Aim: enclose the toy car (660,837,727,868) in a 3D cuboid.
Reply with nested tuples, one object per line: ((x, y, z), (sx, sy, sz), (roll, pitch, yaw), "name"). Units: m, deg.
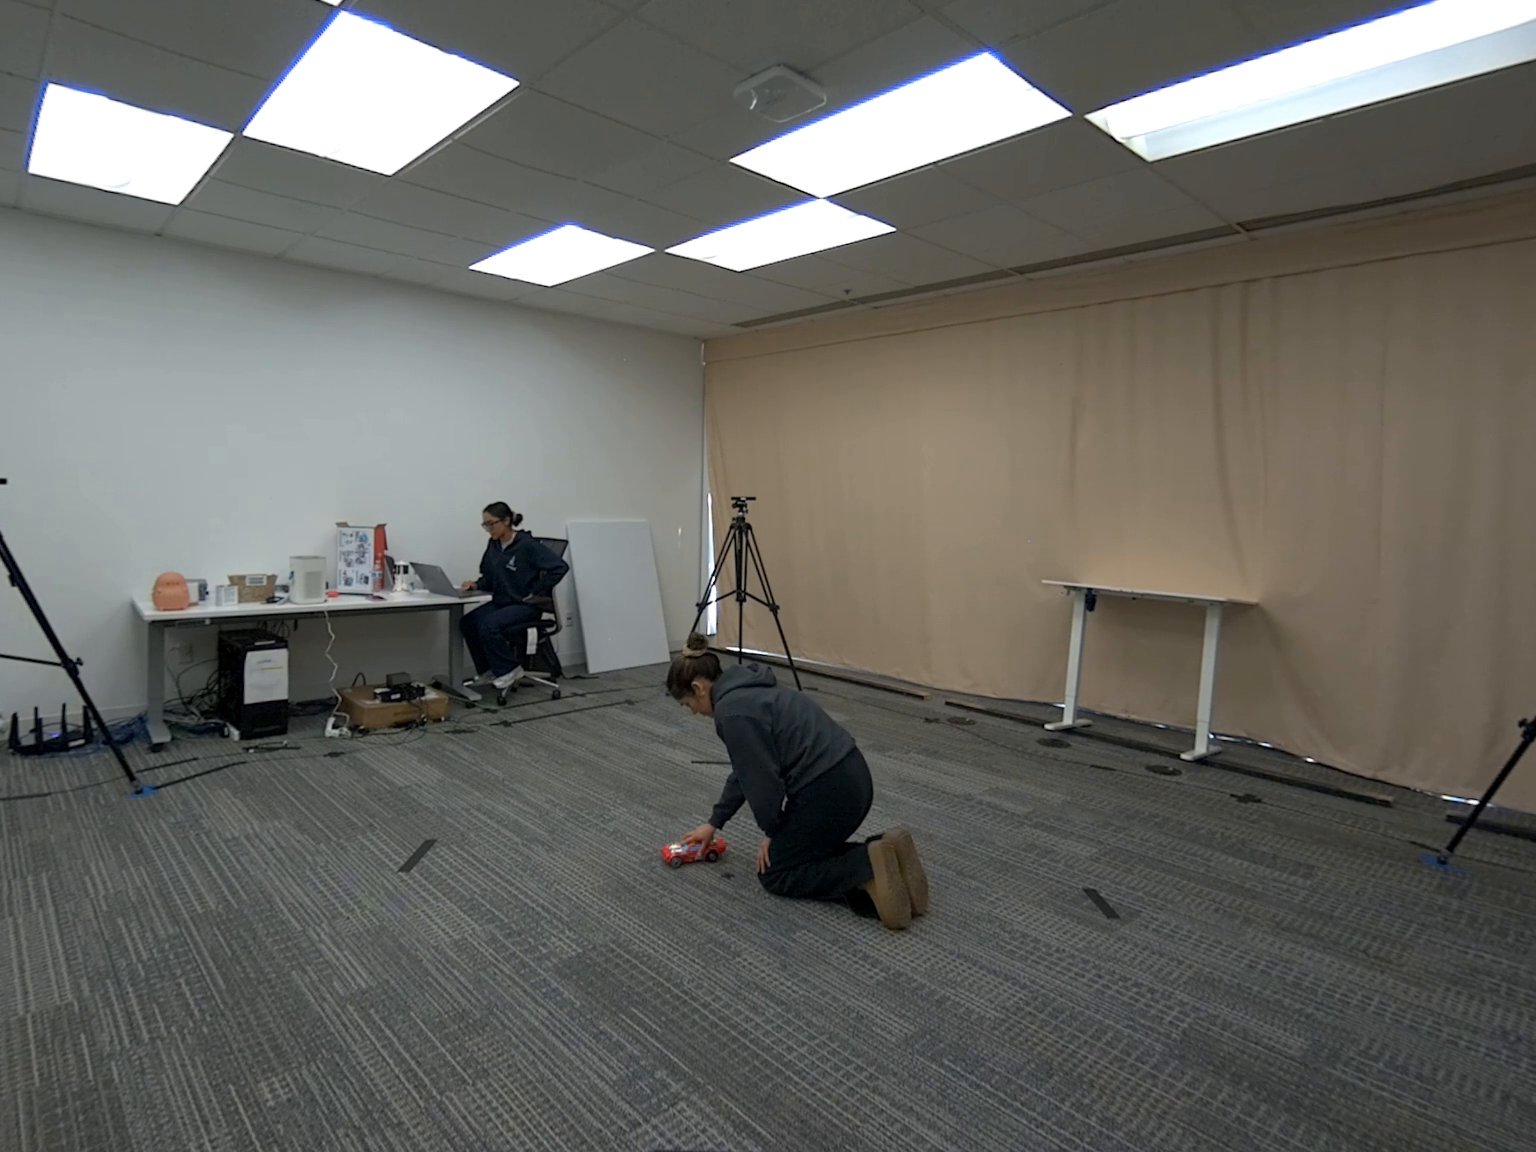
((-0.286, 1.056, 3.256), (0.252, 0.082, 0.133), (-11, 9, -18), "toy car")
